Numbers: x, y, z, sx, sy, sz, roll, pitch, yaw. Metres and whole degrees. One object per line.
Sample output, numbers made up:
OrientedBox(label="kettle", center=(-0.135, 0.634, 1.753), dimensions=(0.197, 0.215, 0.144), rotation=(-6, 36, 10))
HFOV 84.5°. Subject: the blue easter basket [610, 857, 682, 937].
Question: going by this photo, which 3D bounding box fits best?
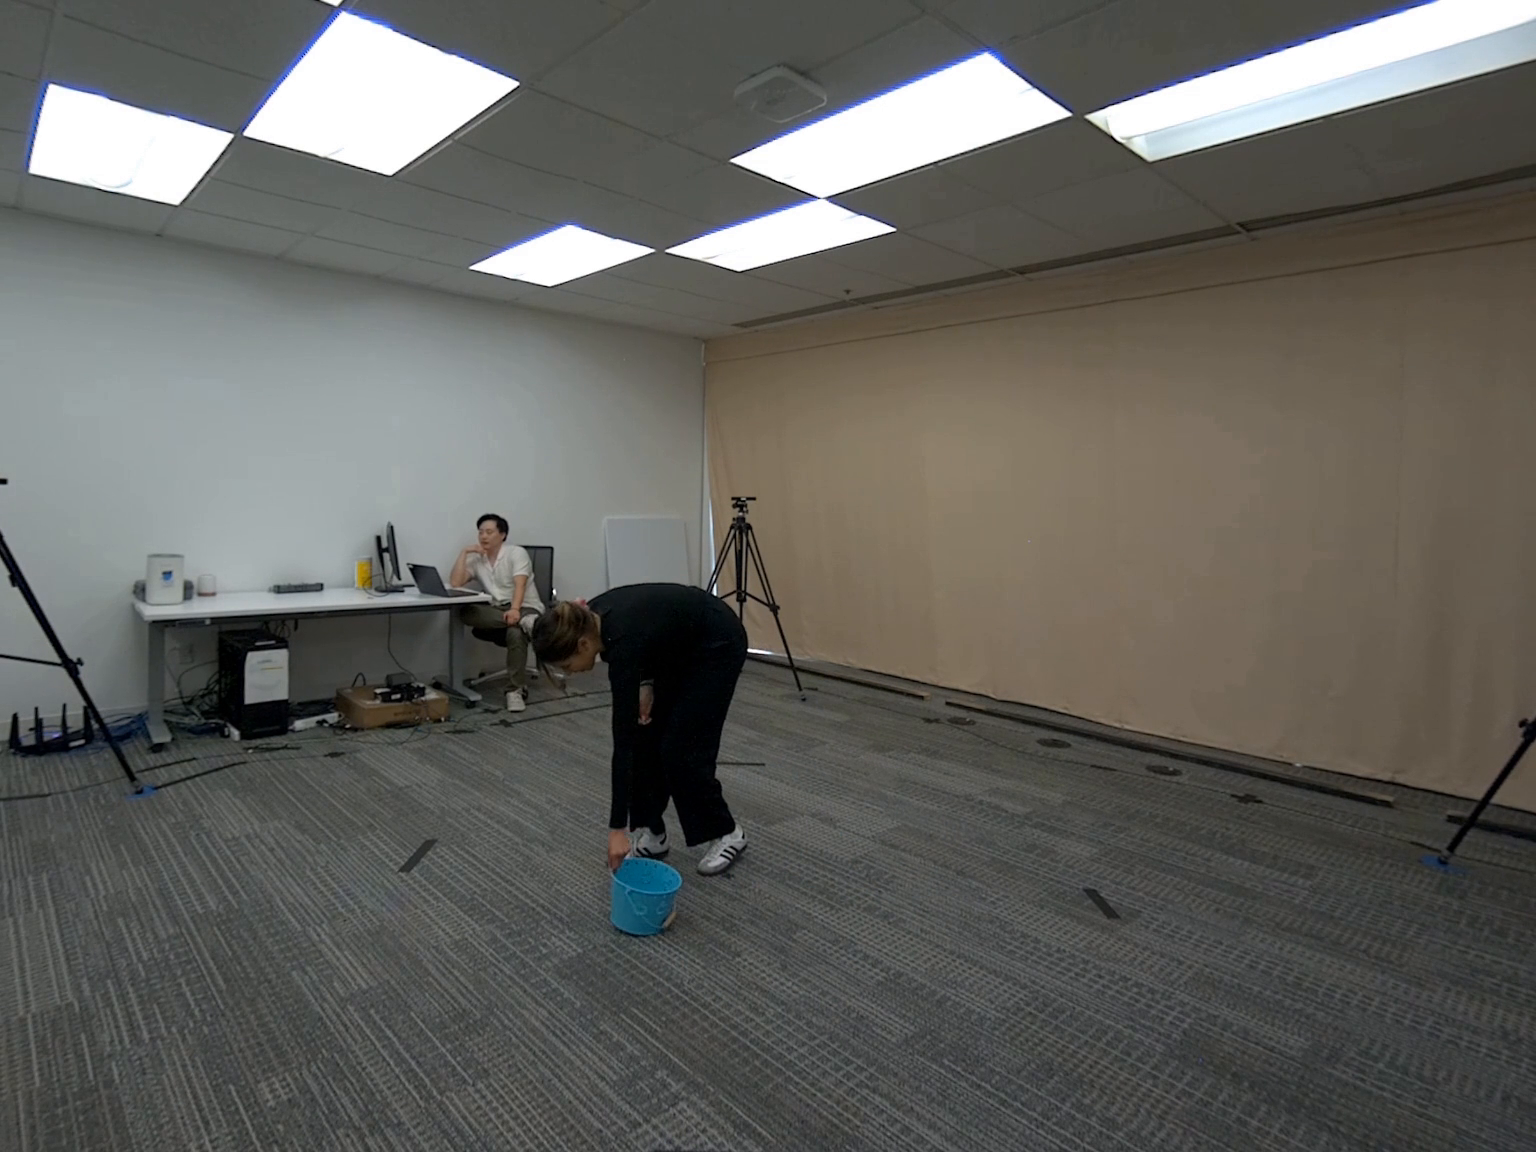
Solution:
OrientedBox(label="blue easter basket", center=(-0.417, 1.049, 2.731), dimensions=(0.243, 0.155, 0.245), rotation=(9, 6, -2))
